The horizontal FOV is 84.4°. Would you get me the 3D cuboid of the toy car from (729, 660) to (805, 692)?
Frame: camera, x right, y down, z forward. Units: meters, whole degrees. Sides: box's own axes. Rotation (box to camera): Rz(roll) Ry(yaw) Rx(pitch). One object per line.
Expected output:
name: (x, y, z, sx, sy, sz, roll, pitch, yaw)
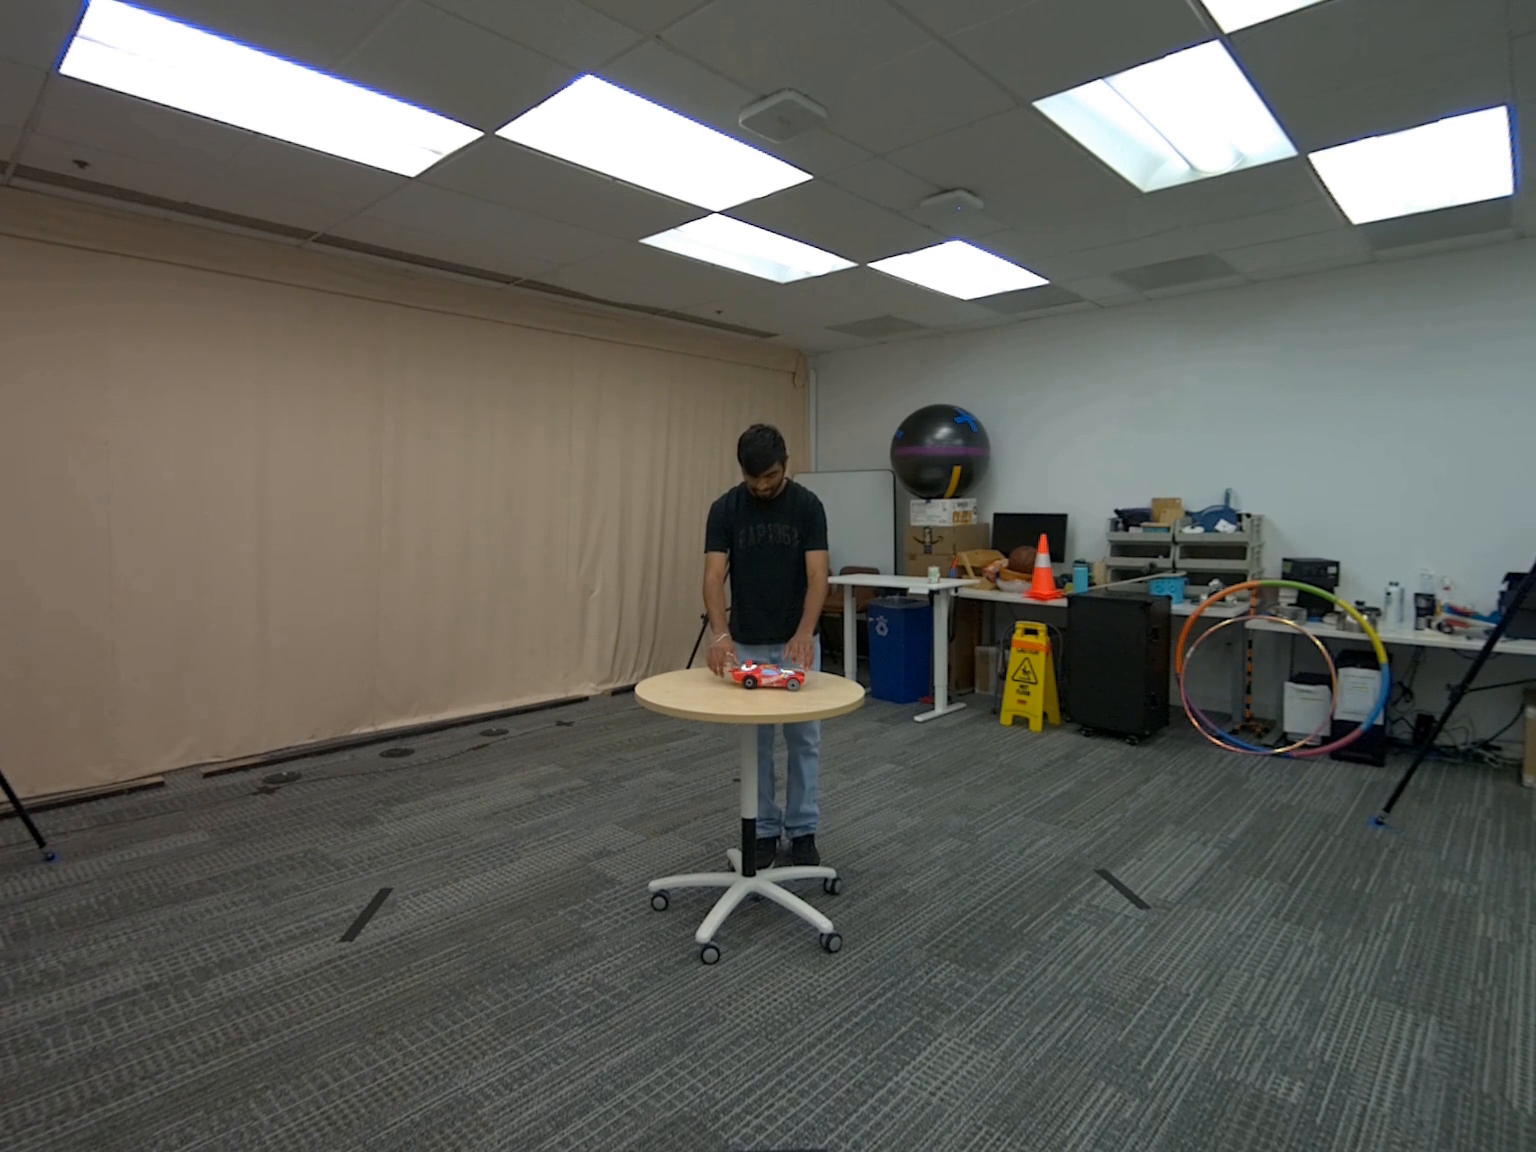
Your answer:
toy car: (-0.013, 0.339, 2.839, 0.257, 0.083, 0.129, 12, 5, 8)
